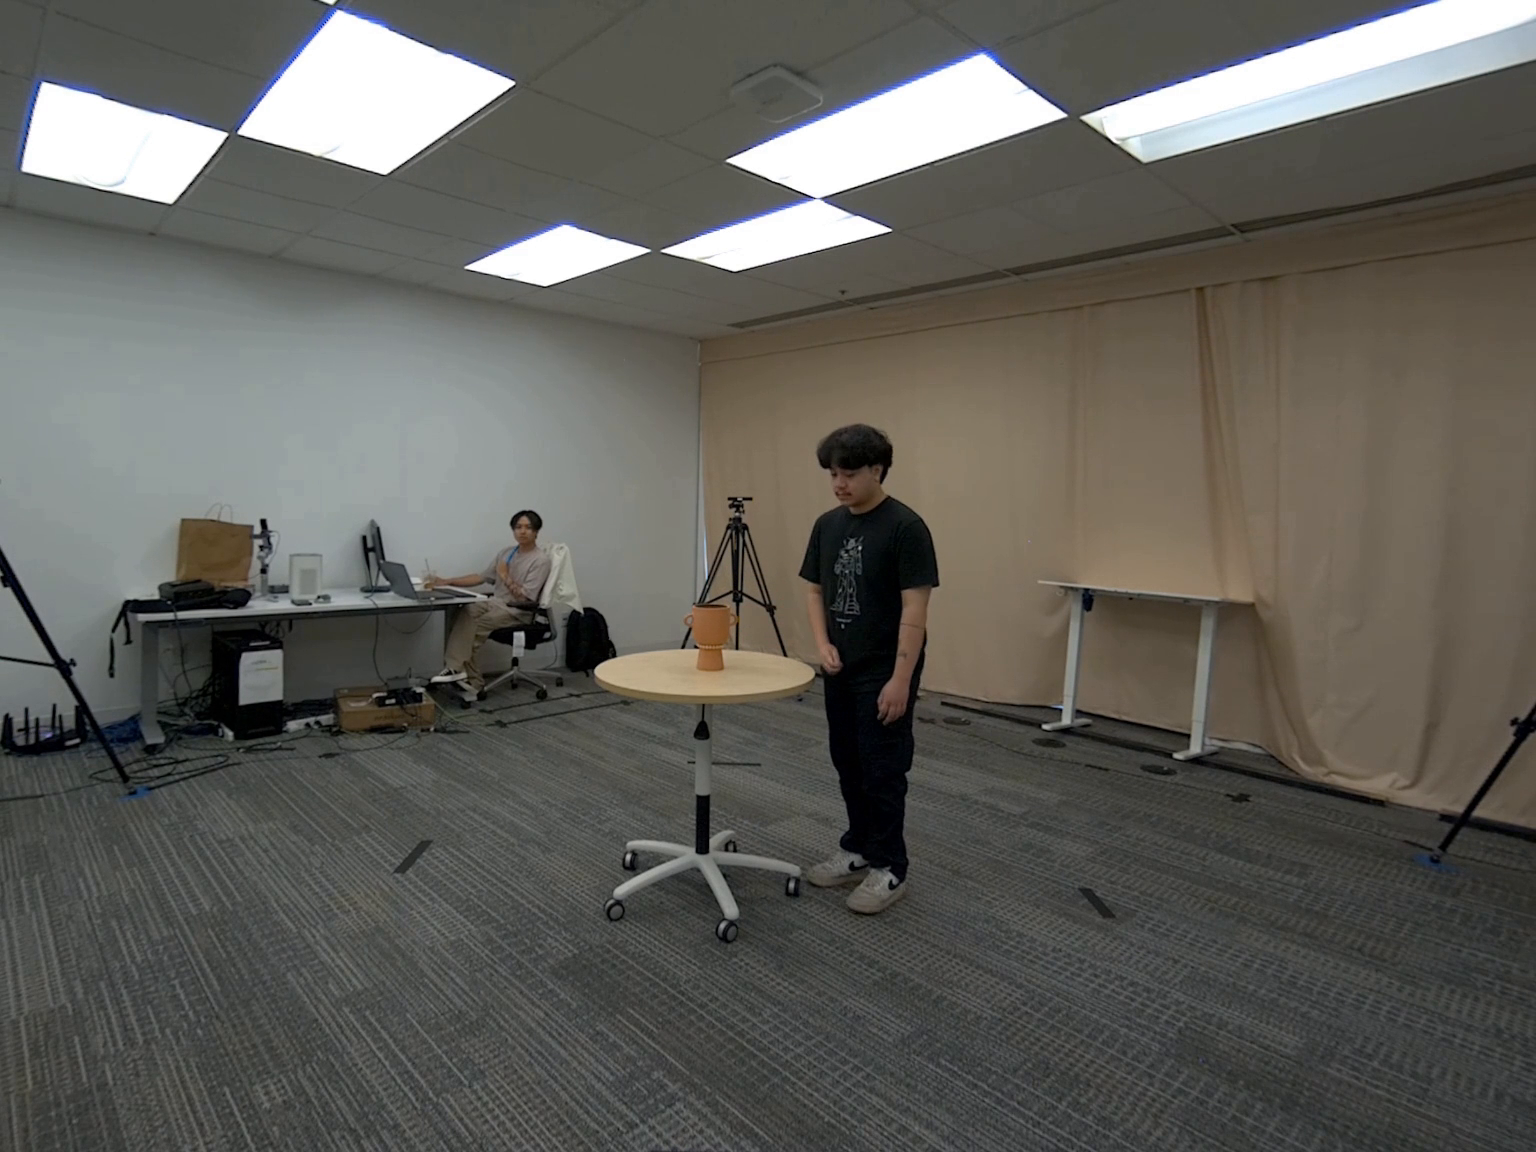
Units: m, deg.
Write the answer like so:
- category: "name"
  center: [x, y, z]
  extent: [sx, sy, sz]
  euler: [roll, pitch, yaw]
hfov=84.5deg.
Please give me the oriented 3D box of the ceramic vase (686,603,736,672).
- category: "ceramic vase"
  center: [-0.205, 0.213, 2.948]
  extent: [0.162, 0.219, 0.133]
  euler: [3, 5, 22]
